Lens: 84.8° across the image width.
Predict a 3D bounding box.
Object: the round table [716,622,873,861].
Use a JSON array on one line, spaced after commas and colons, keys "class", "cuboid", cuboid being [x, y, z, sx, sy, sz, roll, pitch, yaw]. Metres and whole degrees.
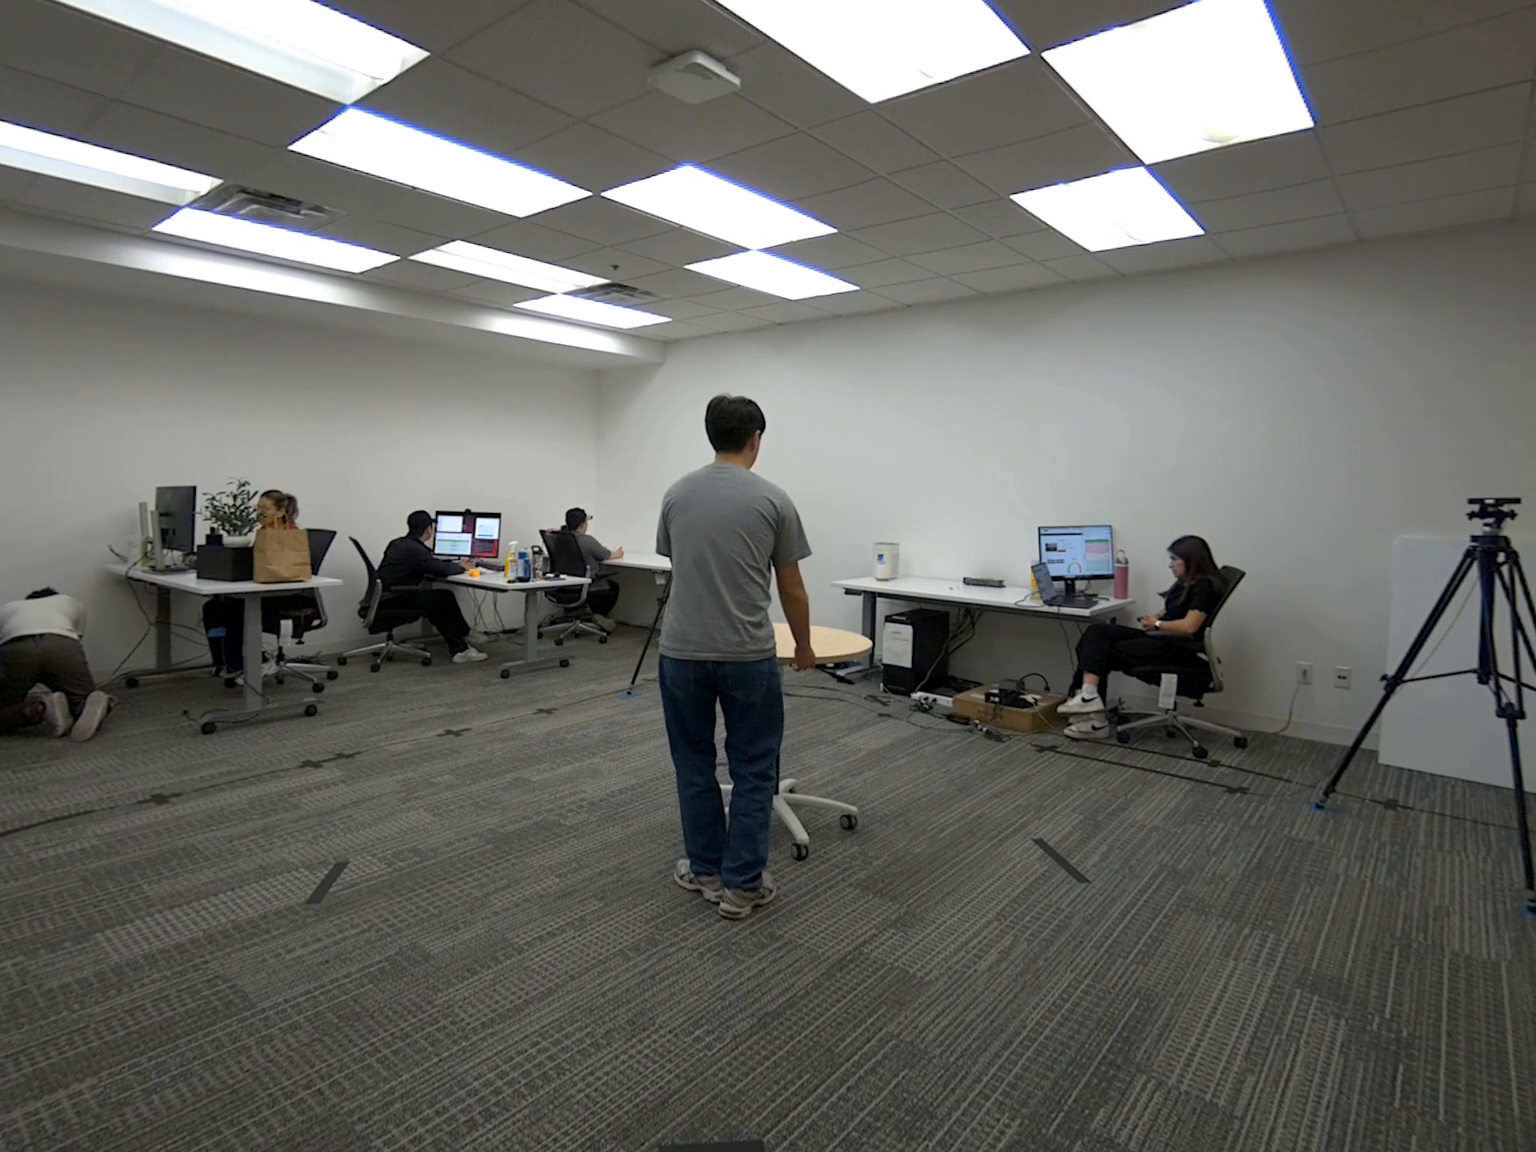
[{"class": "round table", "cuboid": [0.018, 0.644, 3.486, 0.763, 0.791, 0.768, 1, 4, -2]}]
